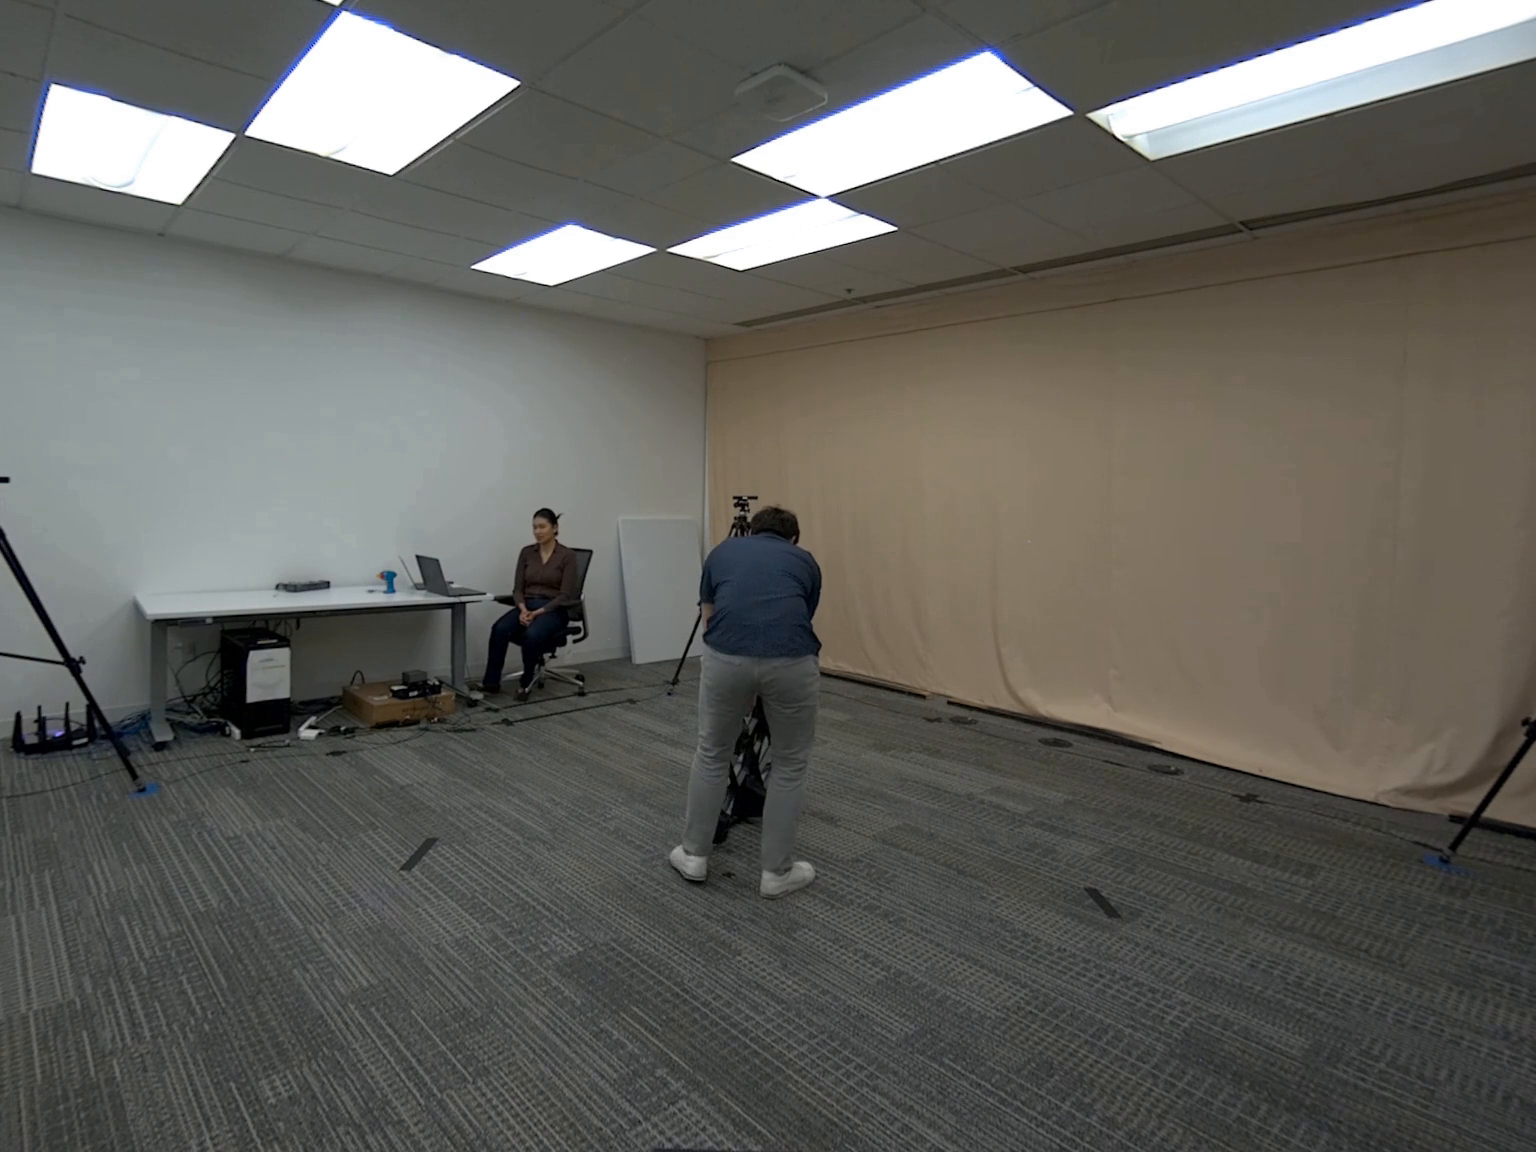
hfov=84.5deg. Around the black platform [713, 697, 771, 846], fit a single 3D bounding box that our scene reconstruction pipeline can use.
[{"bbox_3d":[-0.037,0.774,3.589,0.146,0.602,0.791,15,10,24],"label":"black platform"}]
